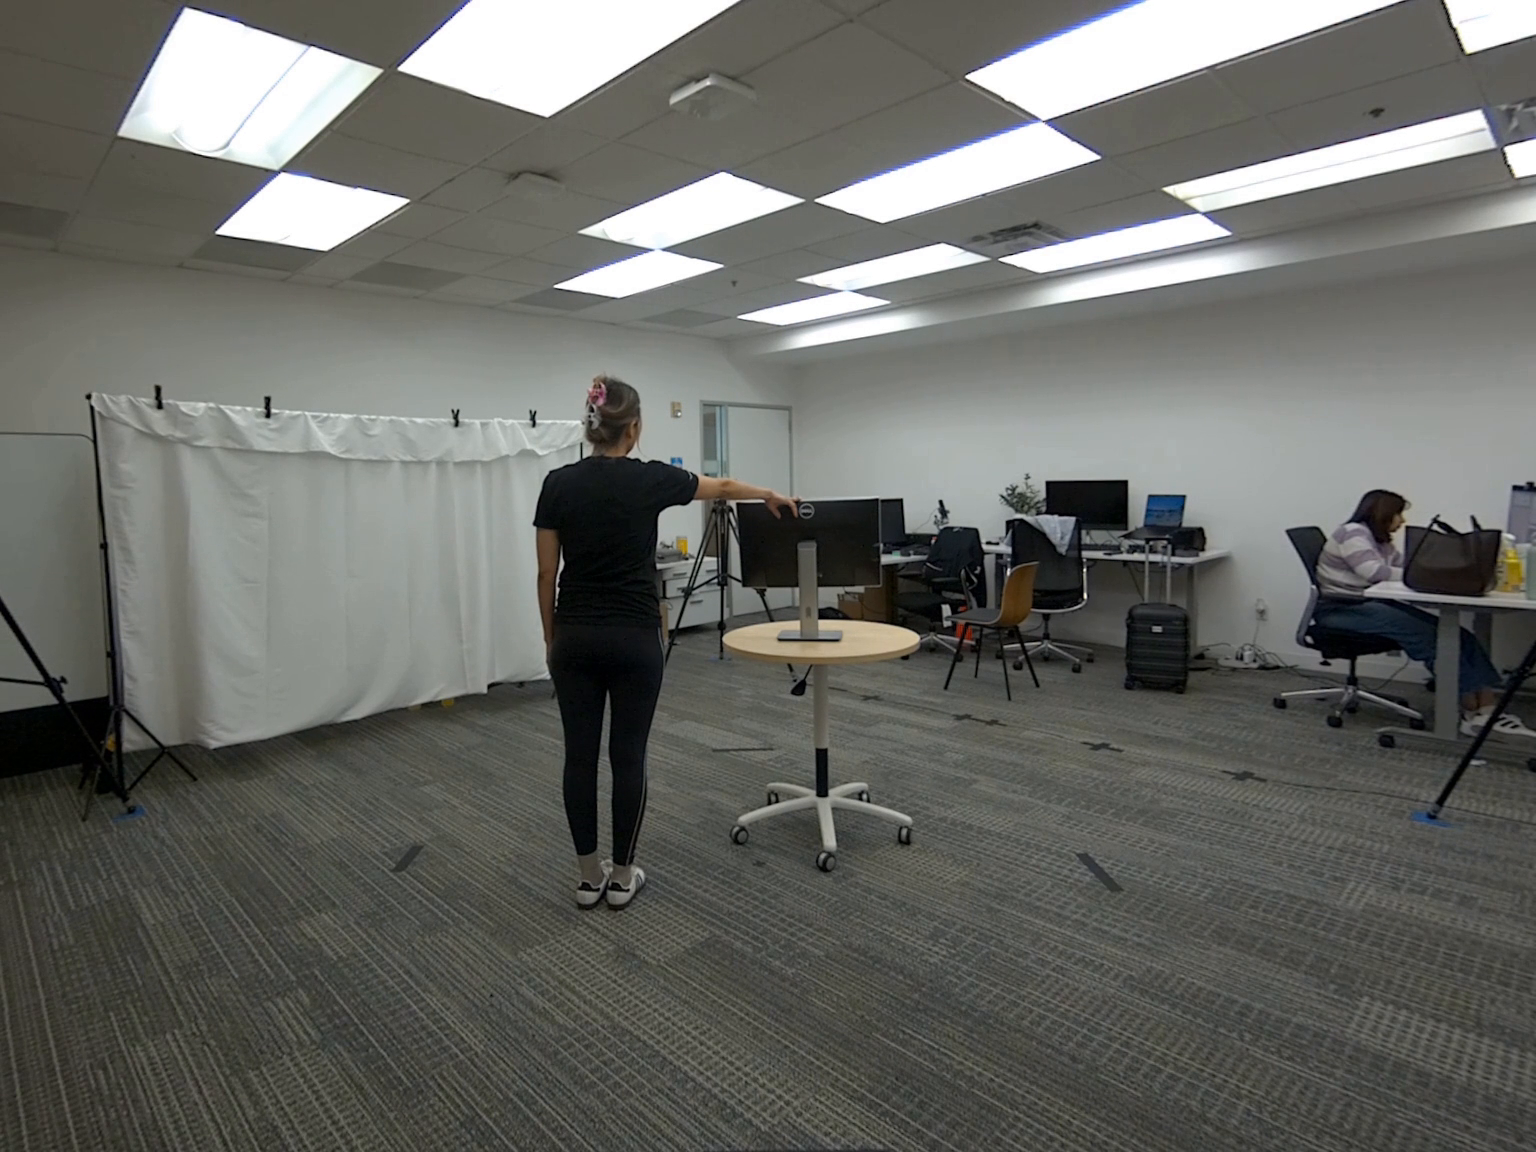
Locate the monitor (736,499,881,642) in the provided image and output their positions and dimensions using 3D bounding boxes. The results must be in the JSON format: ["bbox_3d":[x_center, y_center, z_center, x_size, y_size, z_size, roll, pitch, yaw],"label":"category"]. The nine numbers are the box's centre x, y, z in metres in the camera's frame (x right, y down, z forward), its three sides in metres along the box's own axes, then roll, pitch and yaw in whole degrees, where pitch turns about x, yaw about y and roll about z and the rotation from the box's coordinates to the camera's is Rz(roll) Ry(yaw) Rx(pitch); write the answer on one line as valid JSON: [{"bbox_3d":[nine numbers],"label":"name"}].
[{"bbox_3d":[0.156,-0.022,3.329,0.544,0.520,0.186,-1,4,9],"label":"monitor"}]
